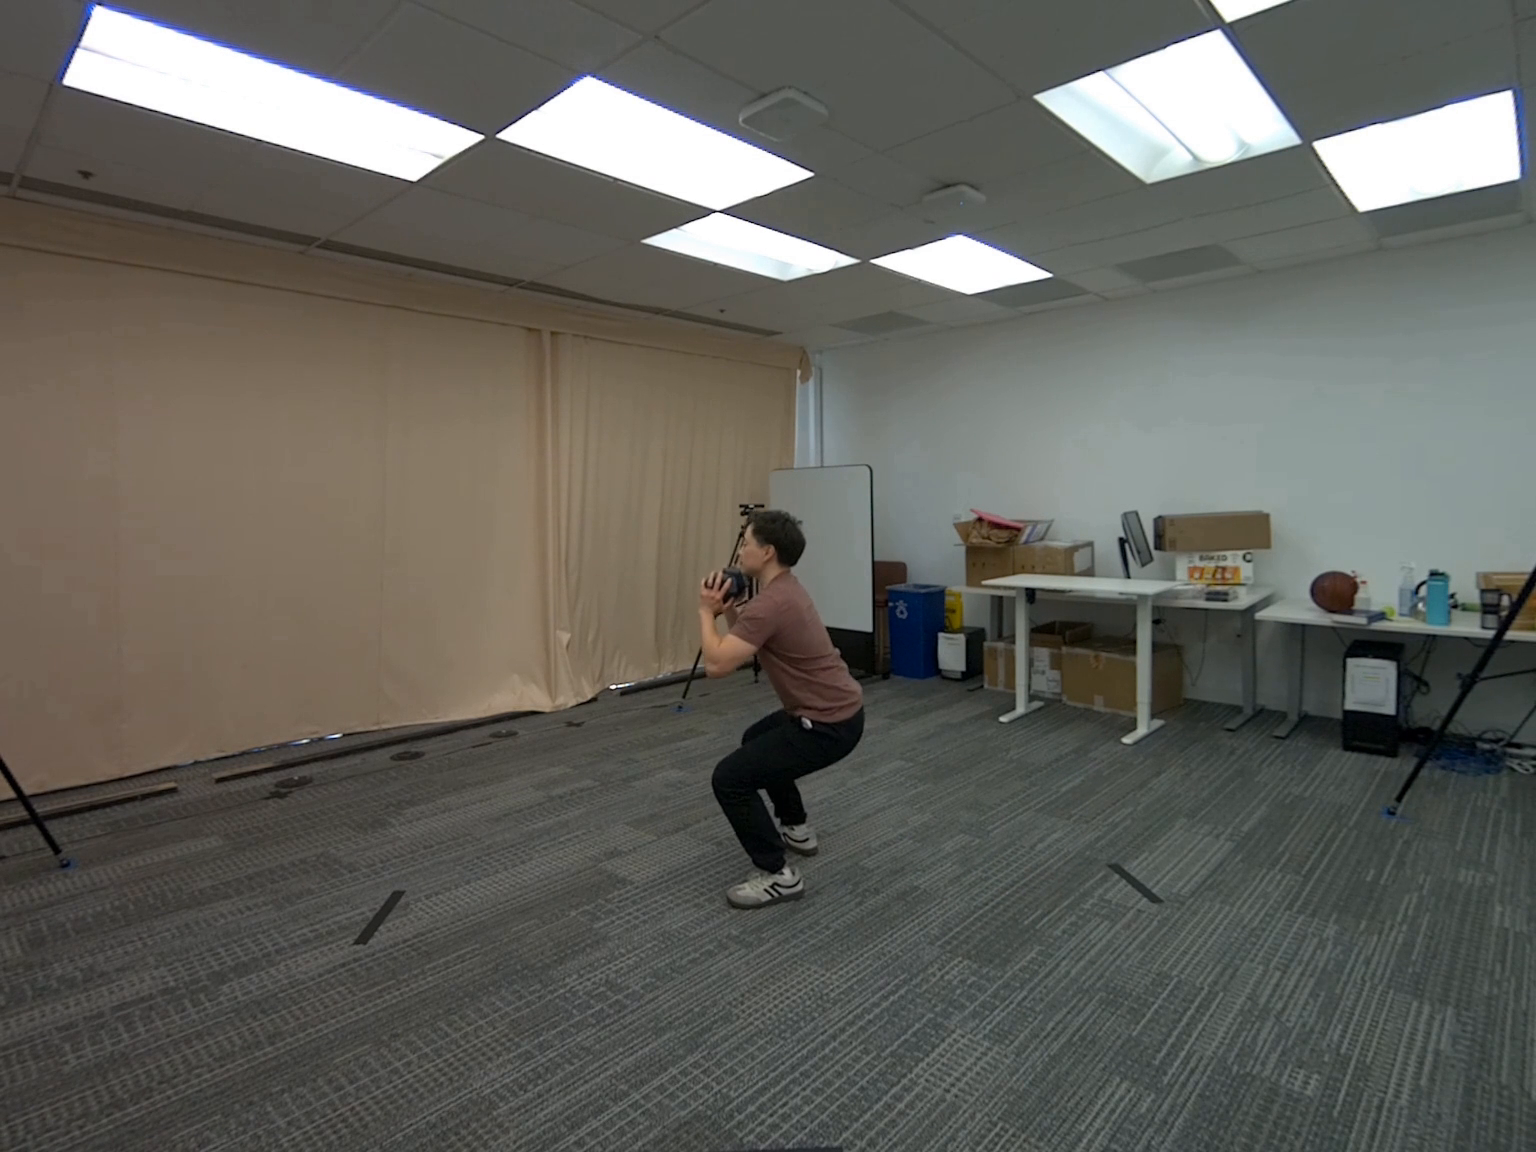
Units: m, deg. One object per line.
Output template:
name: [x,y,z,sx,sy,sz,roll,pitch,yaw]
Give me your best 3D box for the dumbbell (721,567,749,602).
dumbbell: [-0.133,0.029,3.194,0.110,0.122,0.291,-21,6,15]
